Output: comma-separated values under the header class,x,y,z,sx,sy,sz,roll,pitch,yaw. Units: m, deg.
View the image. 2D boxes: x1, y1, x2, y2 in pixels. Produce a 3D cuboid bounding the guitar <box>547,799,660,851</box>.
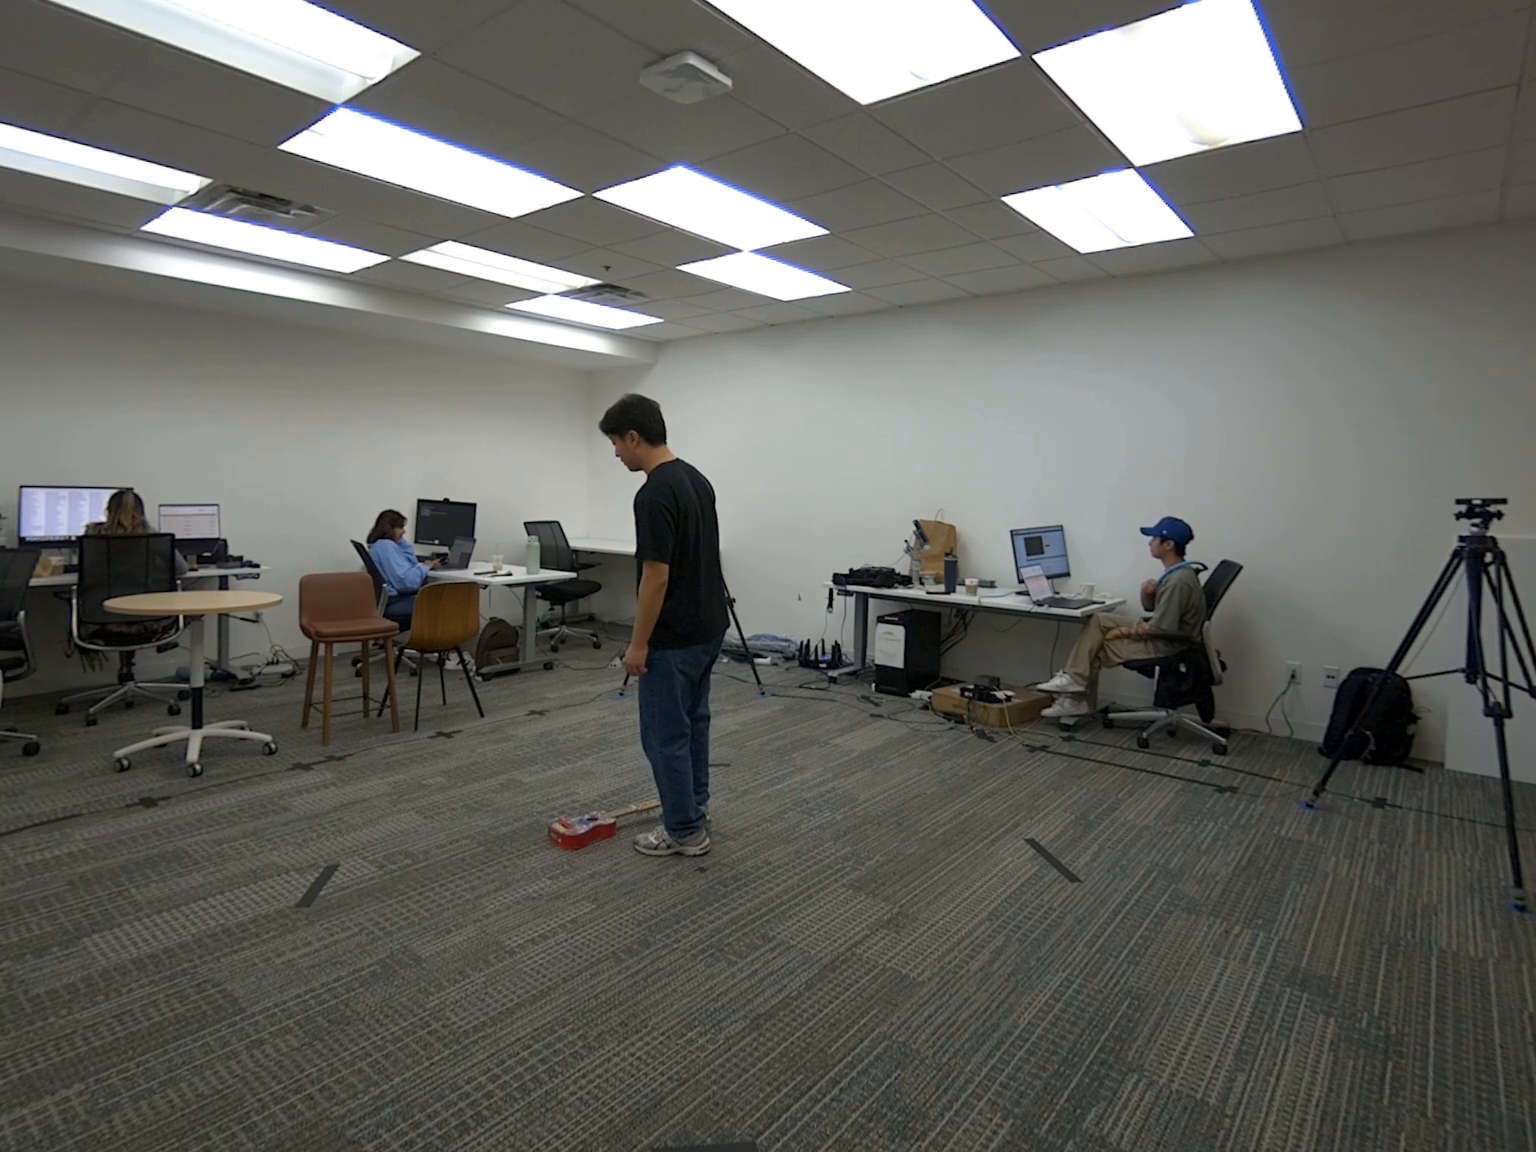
class,x,y,z,sx,sy,sz,roll,pitch,yaw
guitar,-0.644,0.997,3.433,0.484,0.070,0.199,-2,5,-31
